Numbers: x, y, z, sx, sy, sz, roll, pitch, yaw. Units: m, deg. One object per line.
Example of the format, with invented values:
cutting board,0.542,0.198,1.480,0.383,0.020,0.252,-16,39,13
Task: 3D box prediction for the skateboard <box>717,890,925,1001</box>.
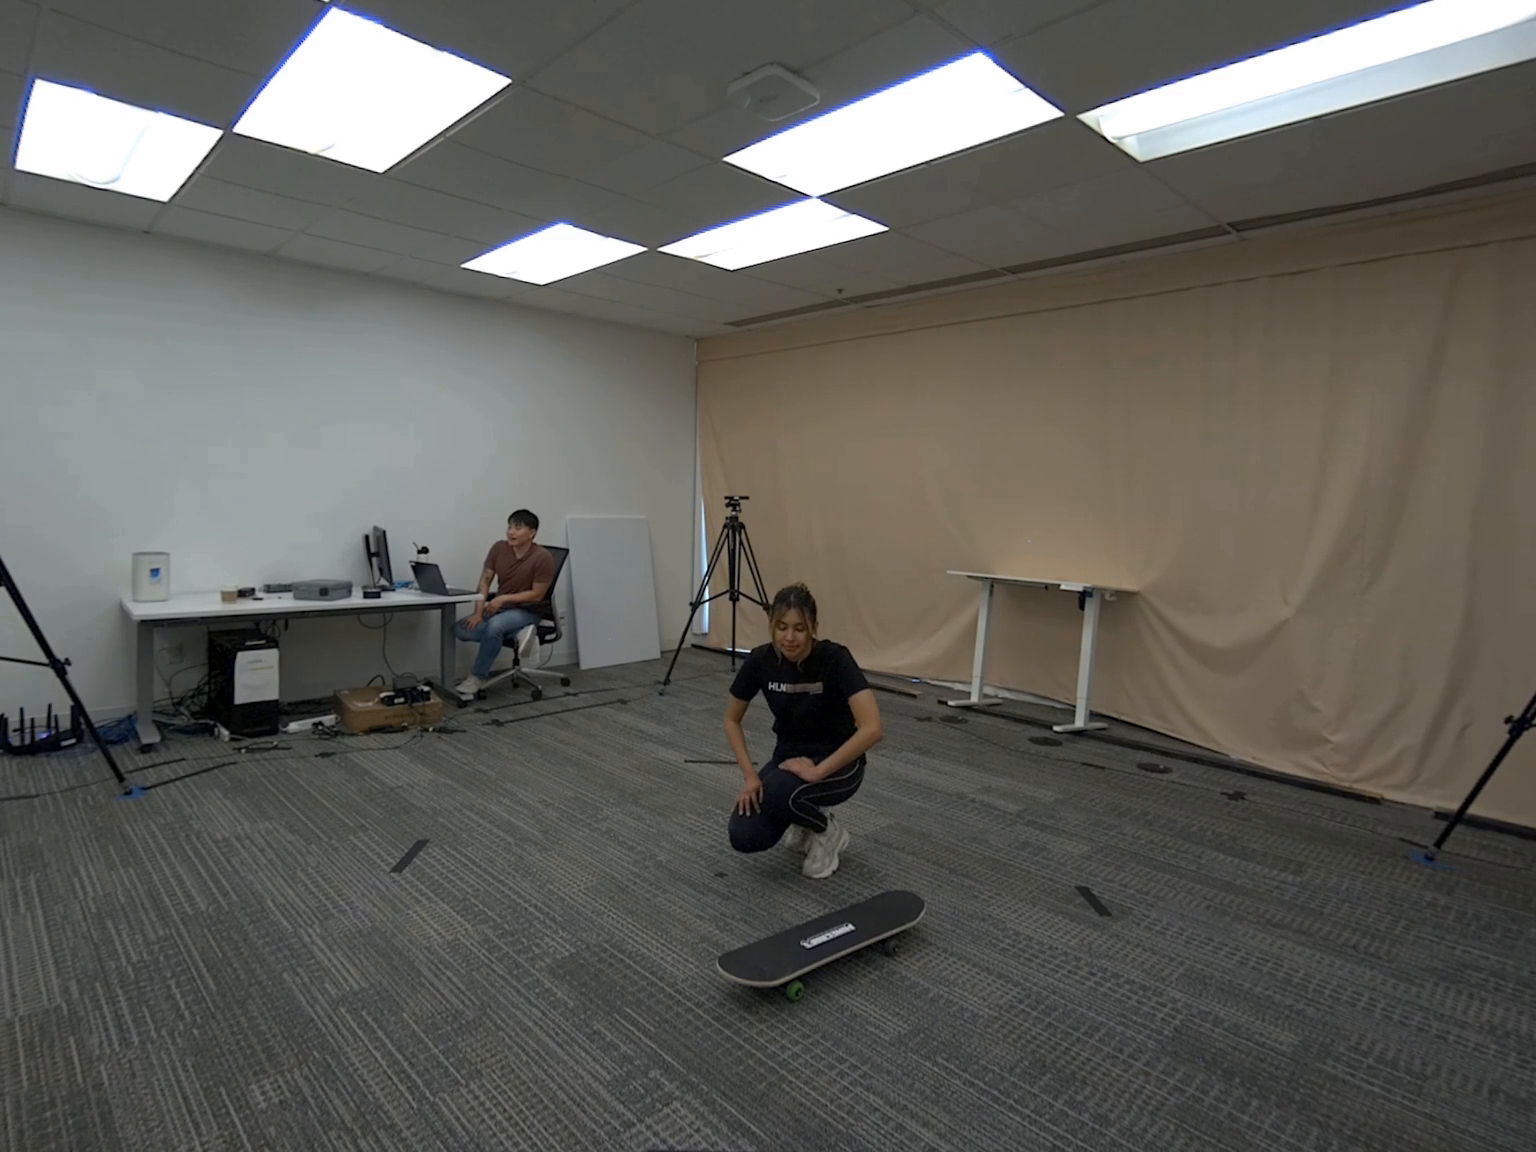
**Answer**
skateboard,0.174,1.110,2.521,0.768,0.110,0.198,-3,7,-39
